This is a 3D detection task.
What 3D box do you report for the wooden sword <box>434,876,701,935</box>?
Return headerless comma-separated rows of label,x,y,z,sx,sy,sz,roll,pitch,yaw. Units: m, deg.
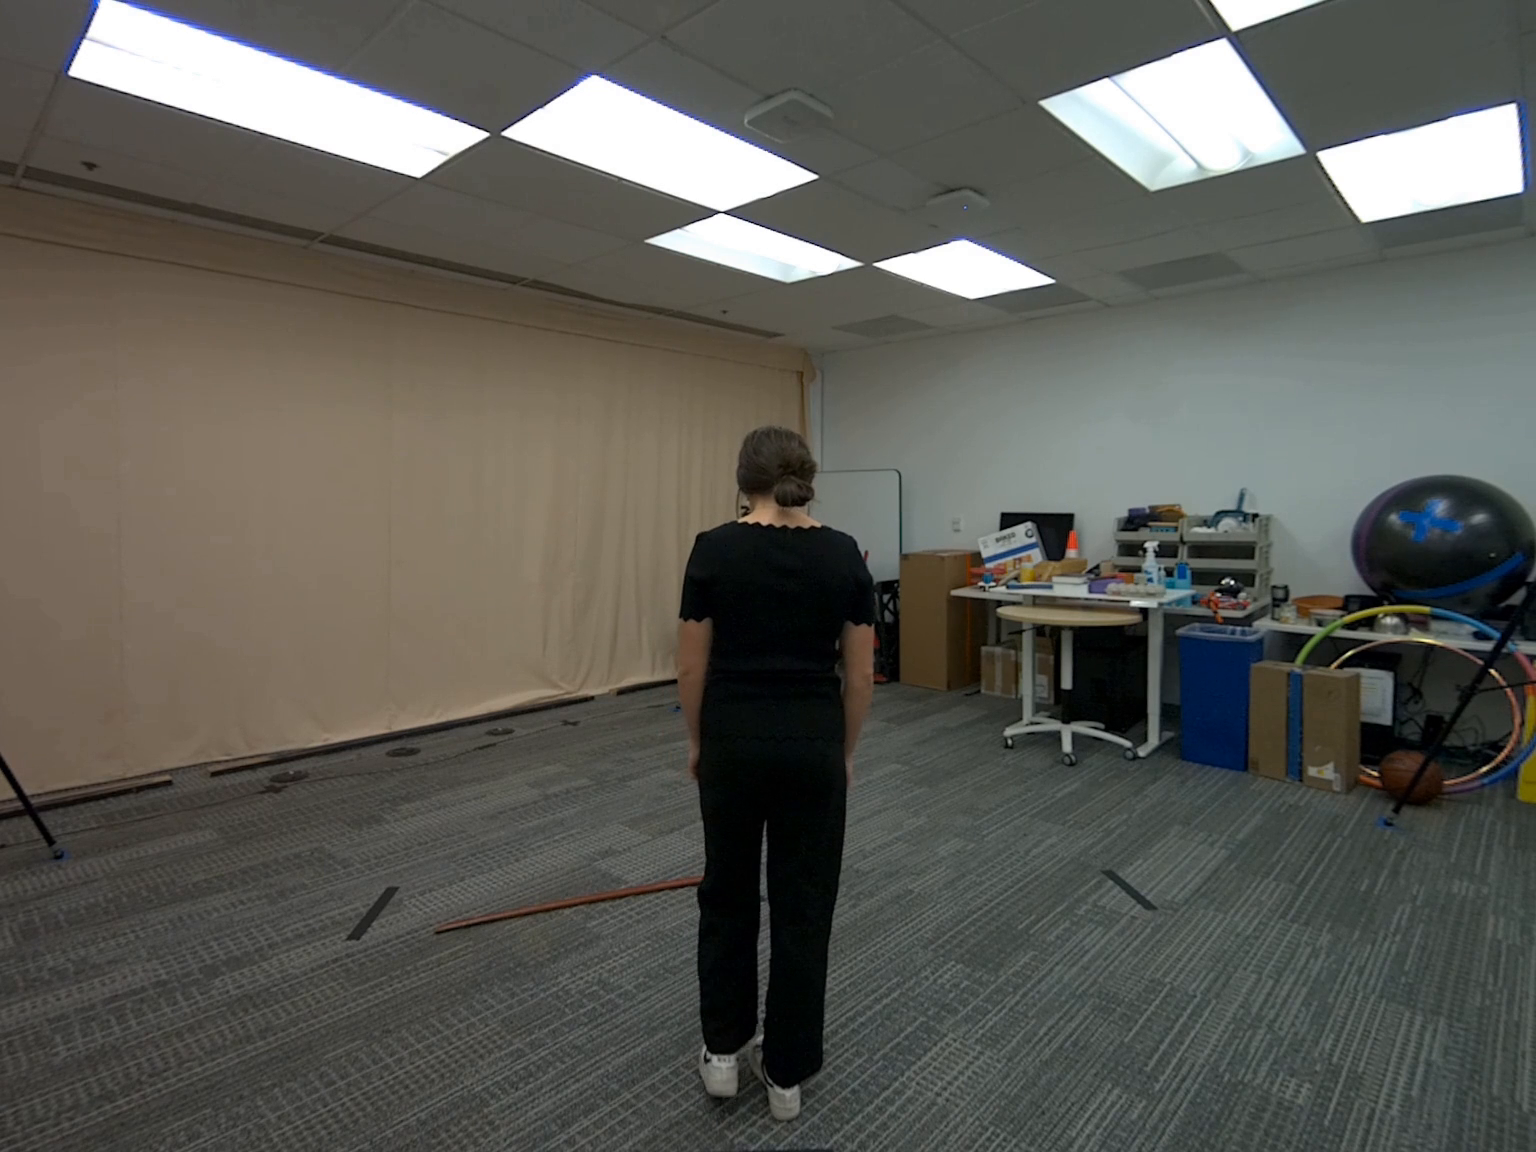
wooden sword,-0.635,1.137,2.958,1.003,0.051,0.025,-3,36,-21
